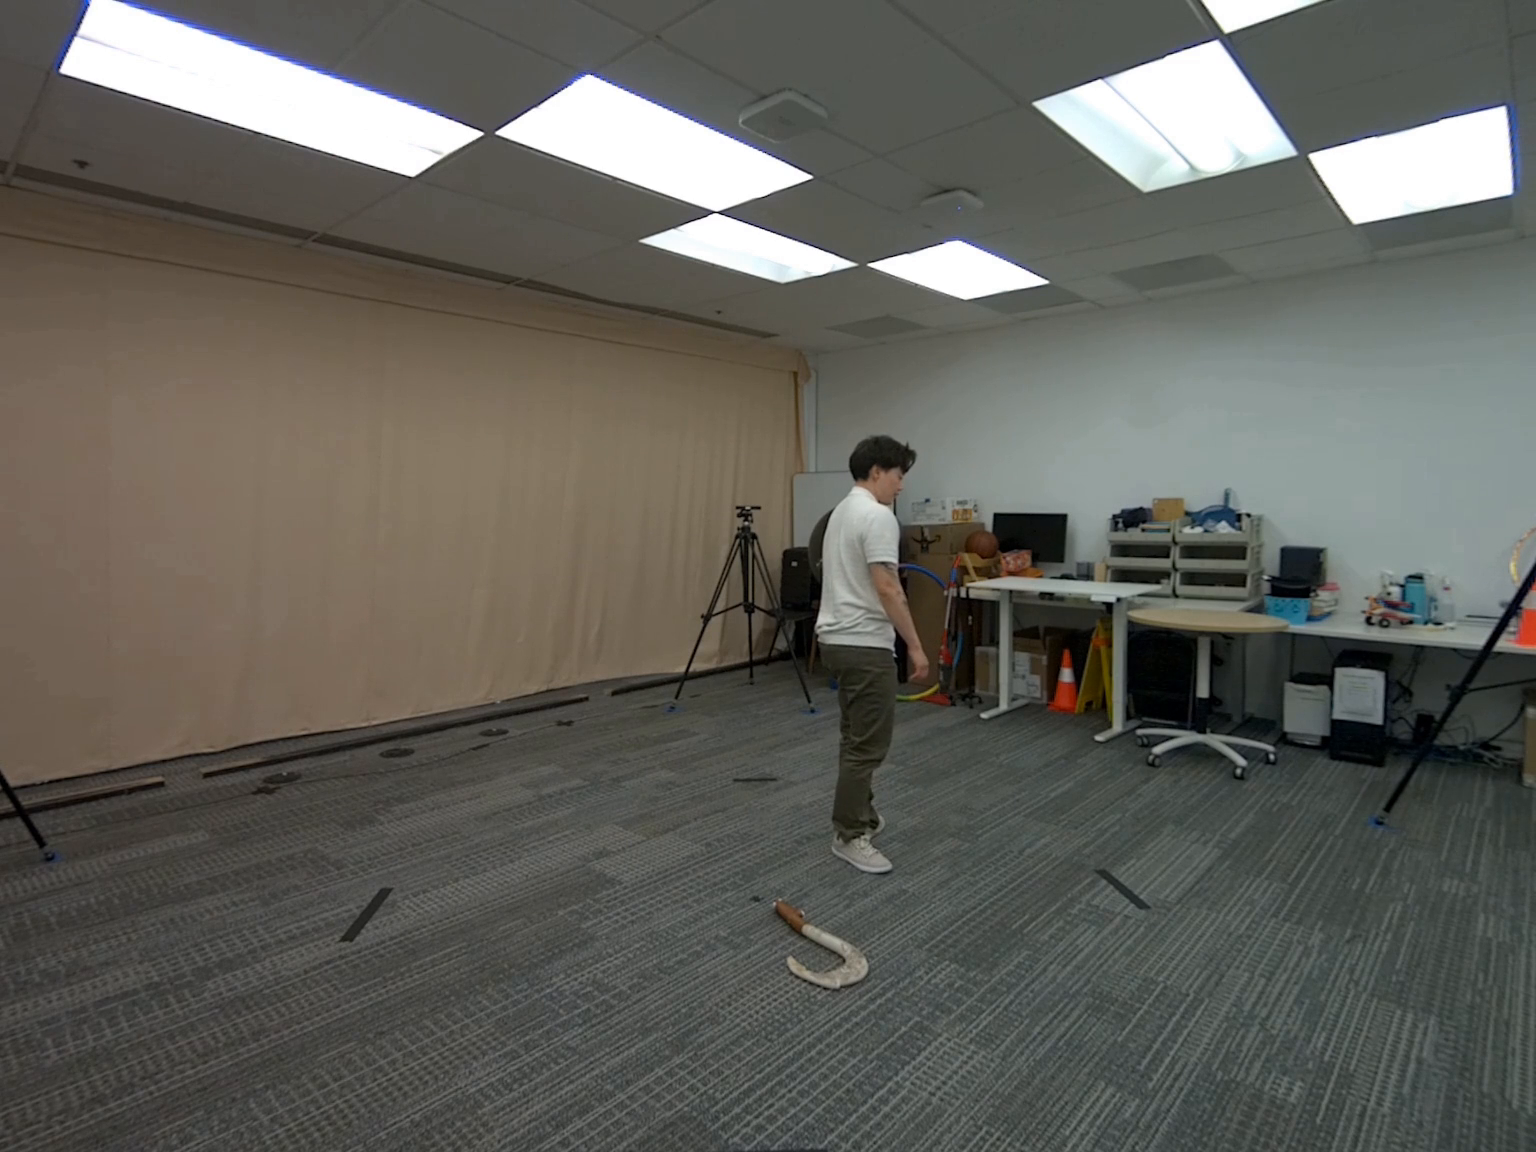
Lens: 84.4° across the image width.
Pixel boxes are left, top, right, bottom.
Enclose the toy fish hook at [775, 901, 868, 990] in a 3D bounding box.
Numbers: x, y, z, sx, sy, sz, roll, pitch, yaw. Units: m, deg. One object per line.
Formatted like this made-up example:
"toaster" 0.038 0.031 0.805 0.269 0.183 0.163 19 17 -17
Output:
"toy fish hook" 0.115 1.149 2.652 0.219 0.048 0.521 -2 4 -29
